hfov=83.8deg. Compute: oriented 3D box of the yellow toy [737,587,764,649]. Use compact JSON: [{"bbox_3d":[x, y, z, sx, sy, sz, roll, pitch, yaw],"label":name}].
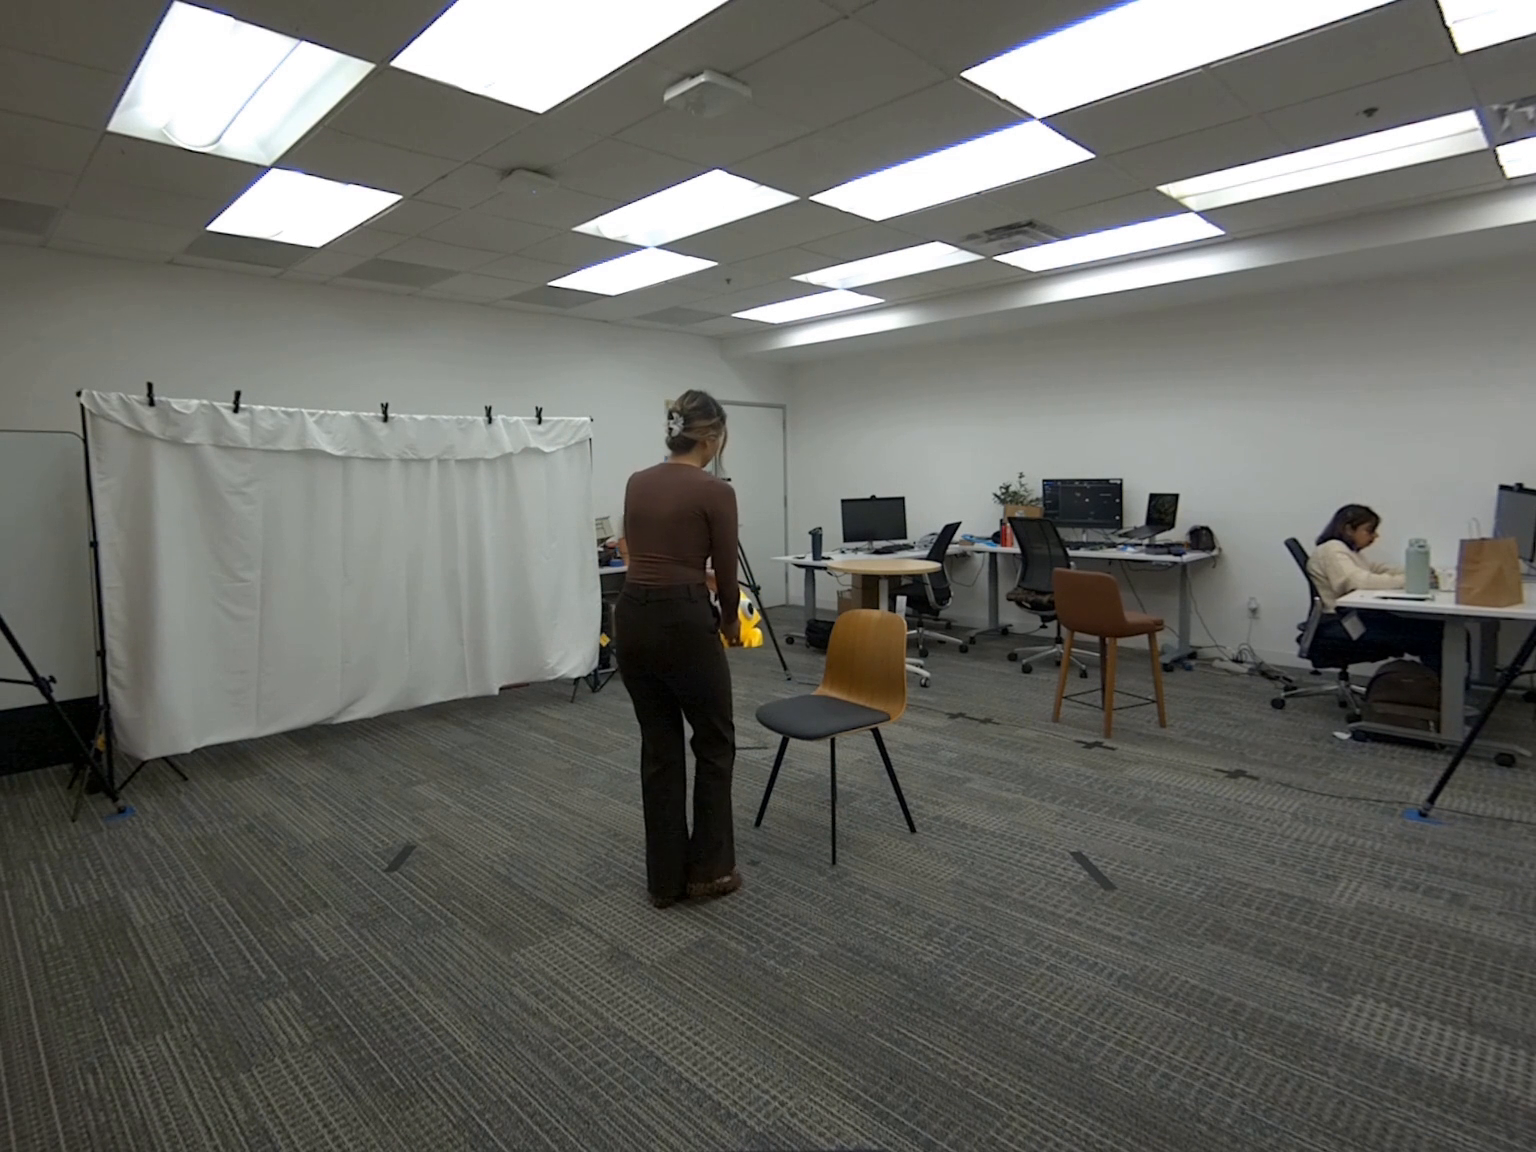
[{"bbox_3d":[-0.118,0.141,3.165,0.205,0.230,0.193,-2,3,-1],"label":"yellow toy"}]
